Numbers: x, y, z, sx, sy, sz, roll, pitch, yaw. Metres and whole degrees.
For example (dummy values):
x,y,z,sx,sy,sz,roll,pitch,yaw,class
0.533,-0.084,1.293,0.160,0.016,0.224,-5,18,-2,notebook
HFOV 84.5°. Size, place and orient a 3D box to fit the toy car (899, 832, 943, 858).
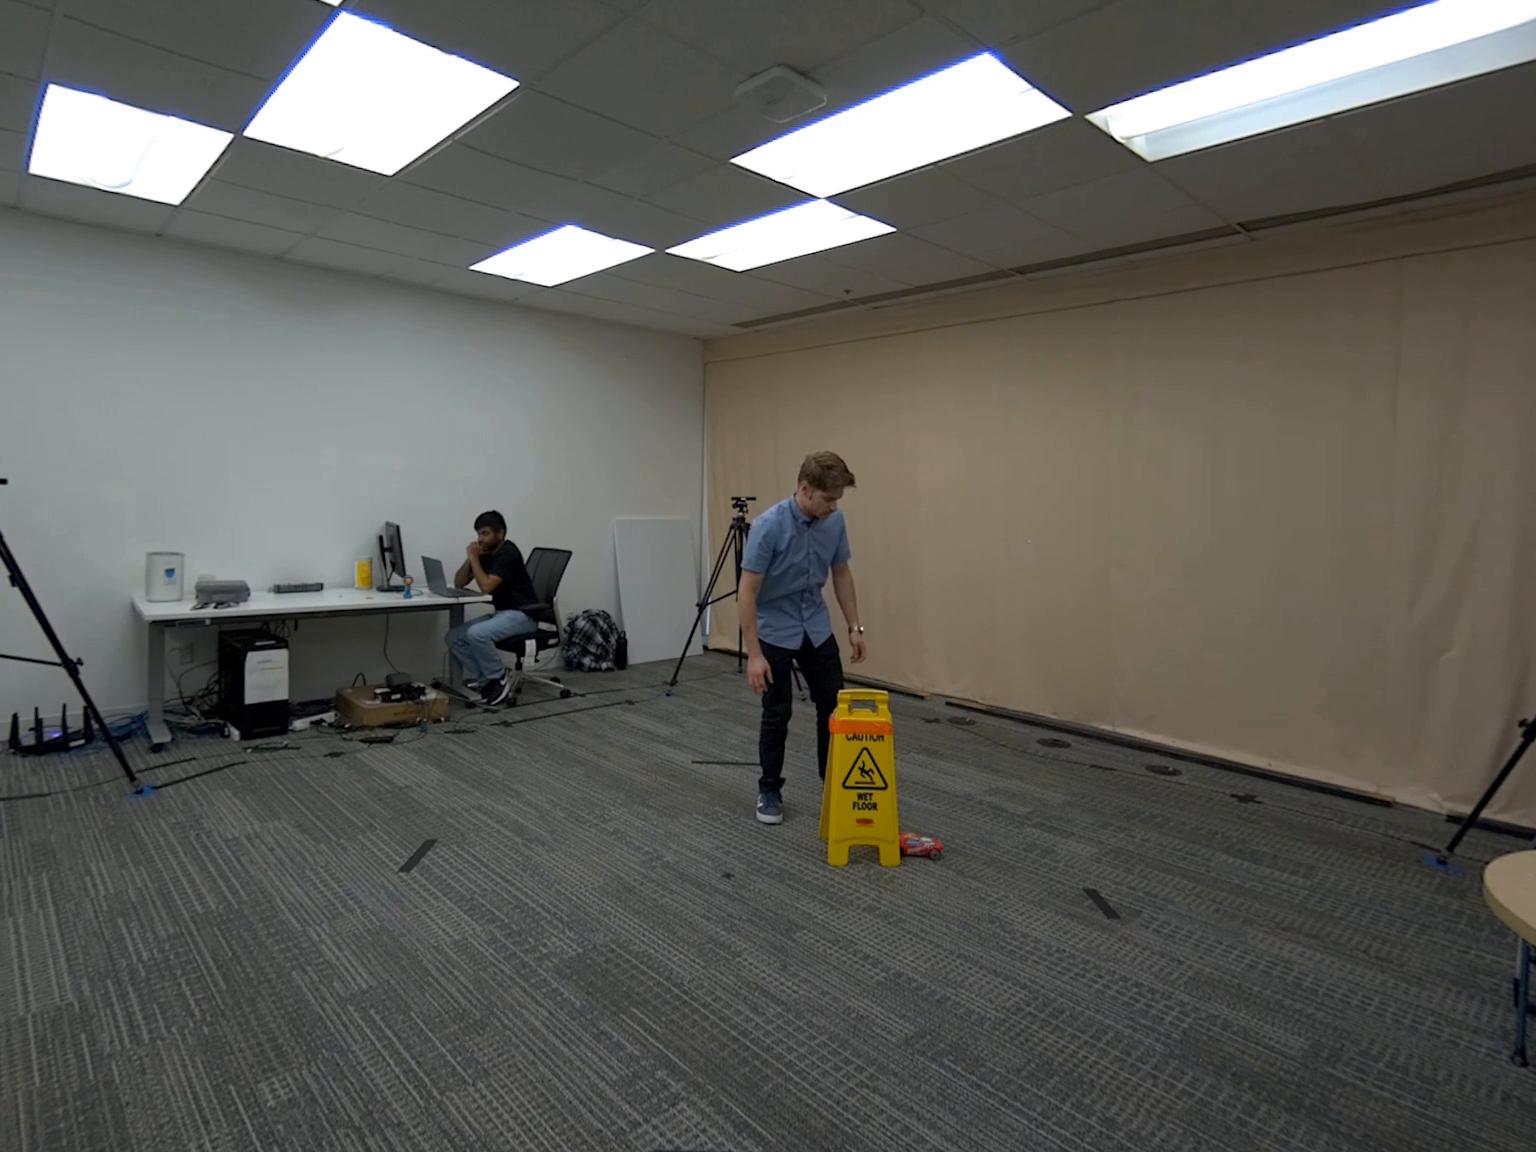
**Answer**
x,y,z,sx,sy,sz,roll,pitch,yaw,class
0.556,1.073,3.352,0.255,0.083,0.130,12,5,0,toy car
